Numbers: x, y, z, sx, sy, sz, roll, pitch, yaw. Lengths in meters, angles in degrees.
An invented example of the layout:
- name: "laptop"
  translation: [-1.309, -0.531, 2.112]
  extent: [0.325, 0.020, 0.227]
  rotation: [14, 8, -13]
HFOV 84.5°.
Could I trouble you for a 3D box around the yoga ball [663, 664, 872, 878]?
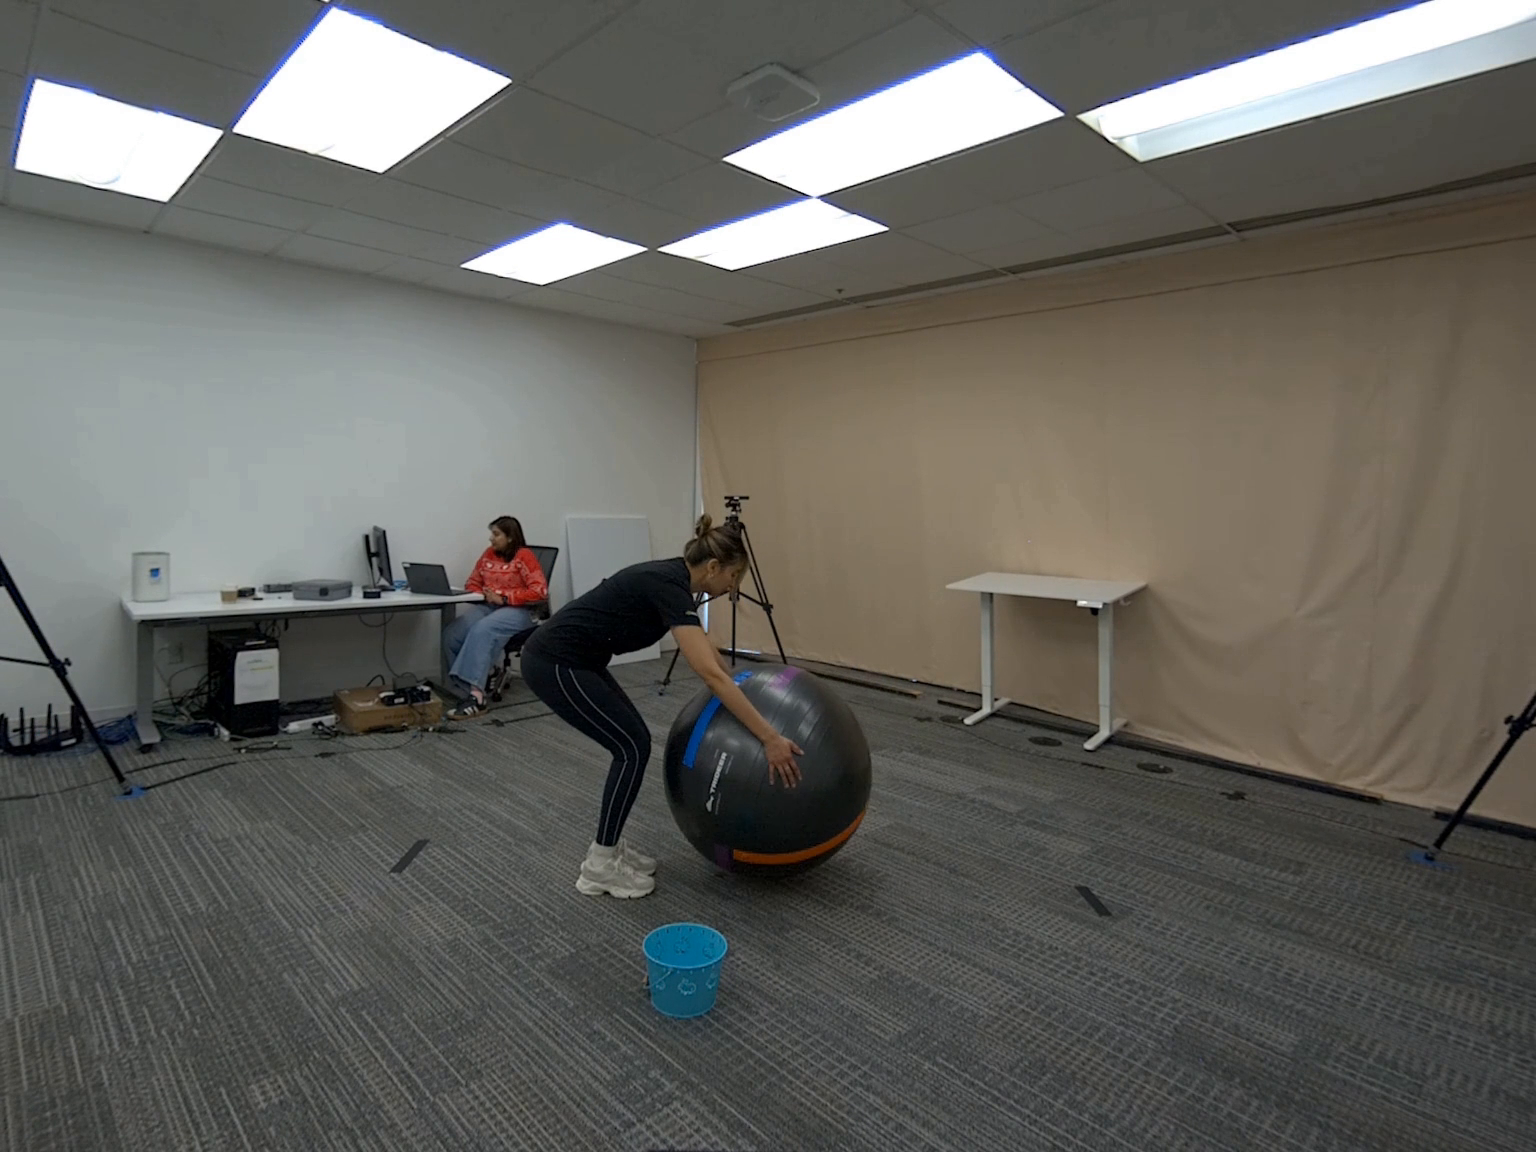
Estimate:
- name: "yoga ball"
  translation: [-0.004, 0.695, 3.071]
  extent: [0.757, 0.756, 0.761]
  rotation: [1, 4, -1]
